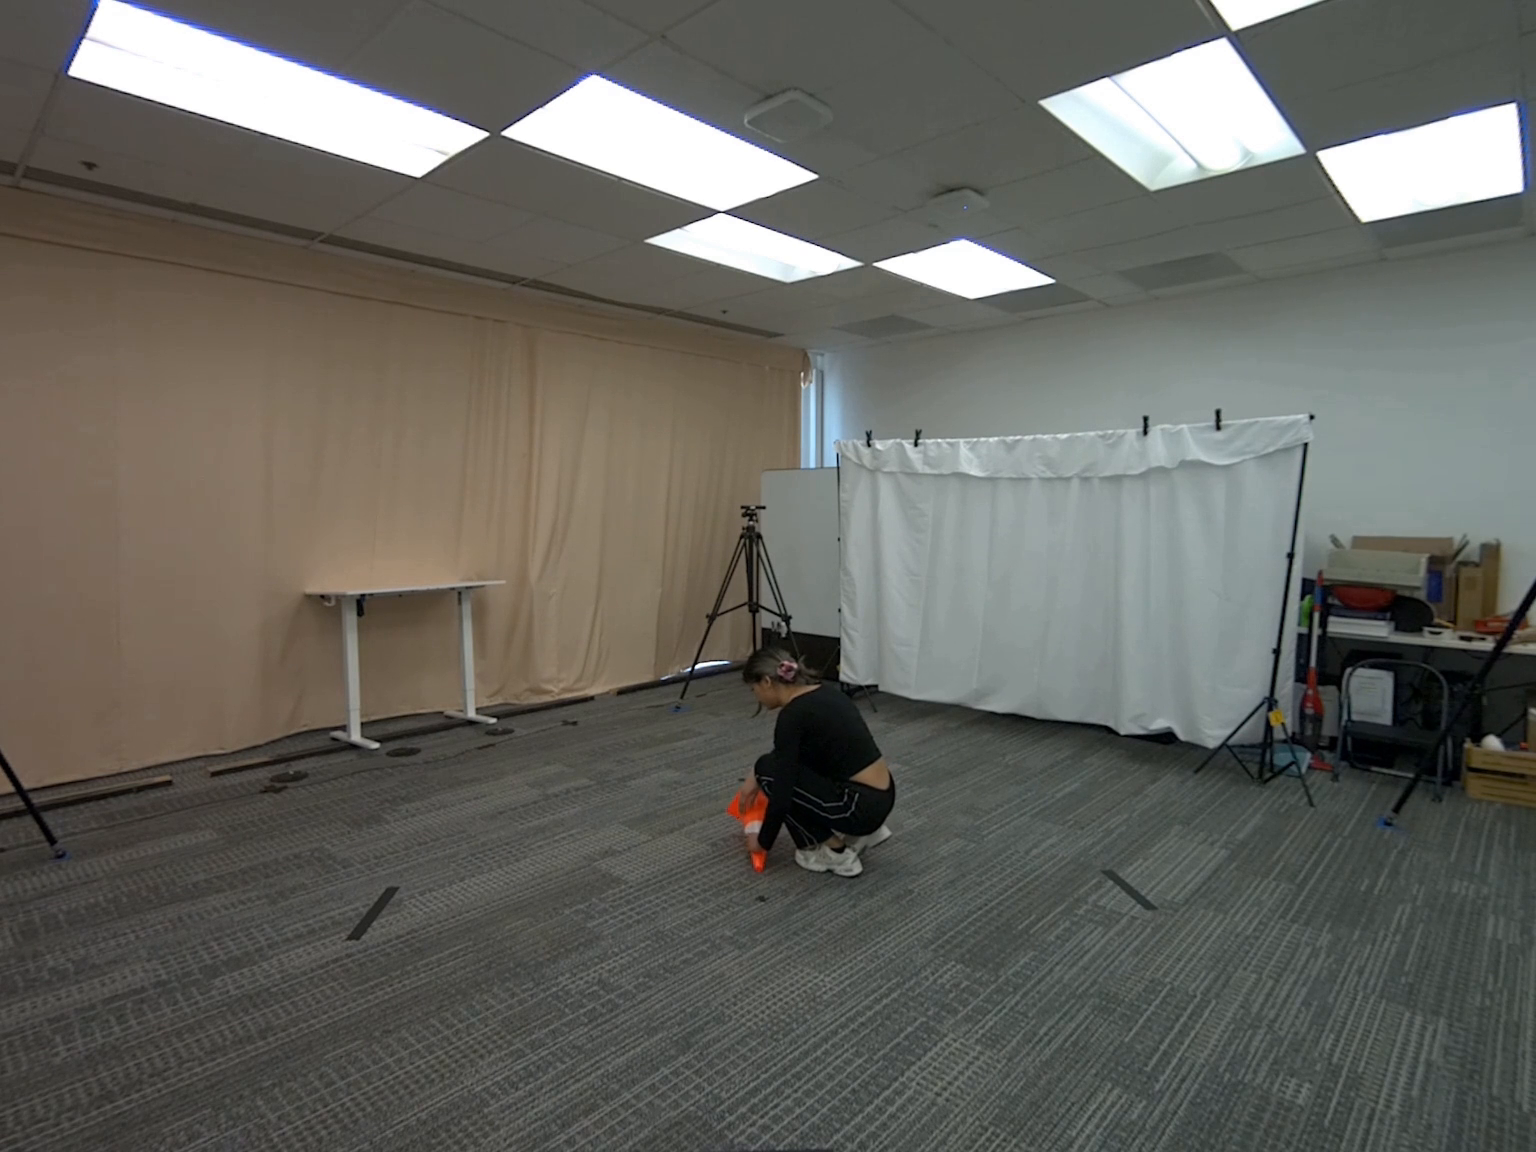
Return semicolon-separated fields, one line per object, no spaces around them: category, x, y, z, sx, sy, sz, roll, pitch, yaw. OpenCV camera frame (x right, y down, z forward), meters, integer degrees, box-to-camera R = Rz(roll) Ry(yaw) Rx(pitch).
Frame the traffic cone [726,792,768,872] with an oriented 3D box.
traffic cone;-0.044;1.050;3.374;0.201;0.205;0.388;24;19;-10
